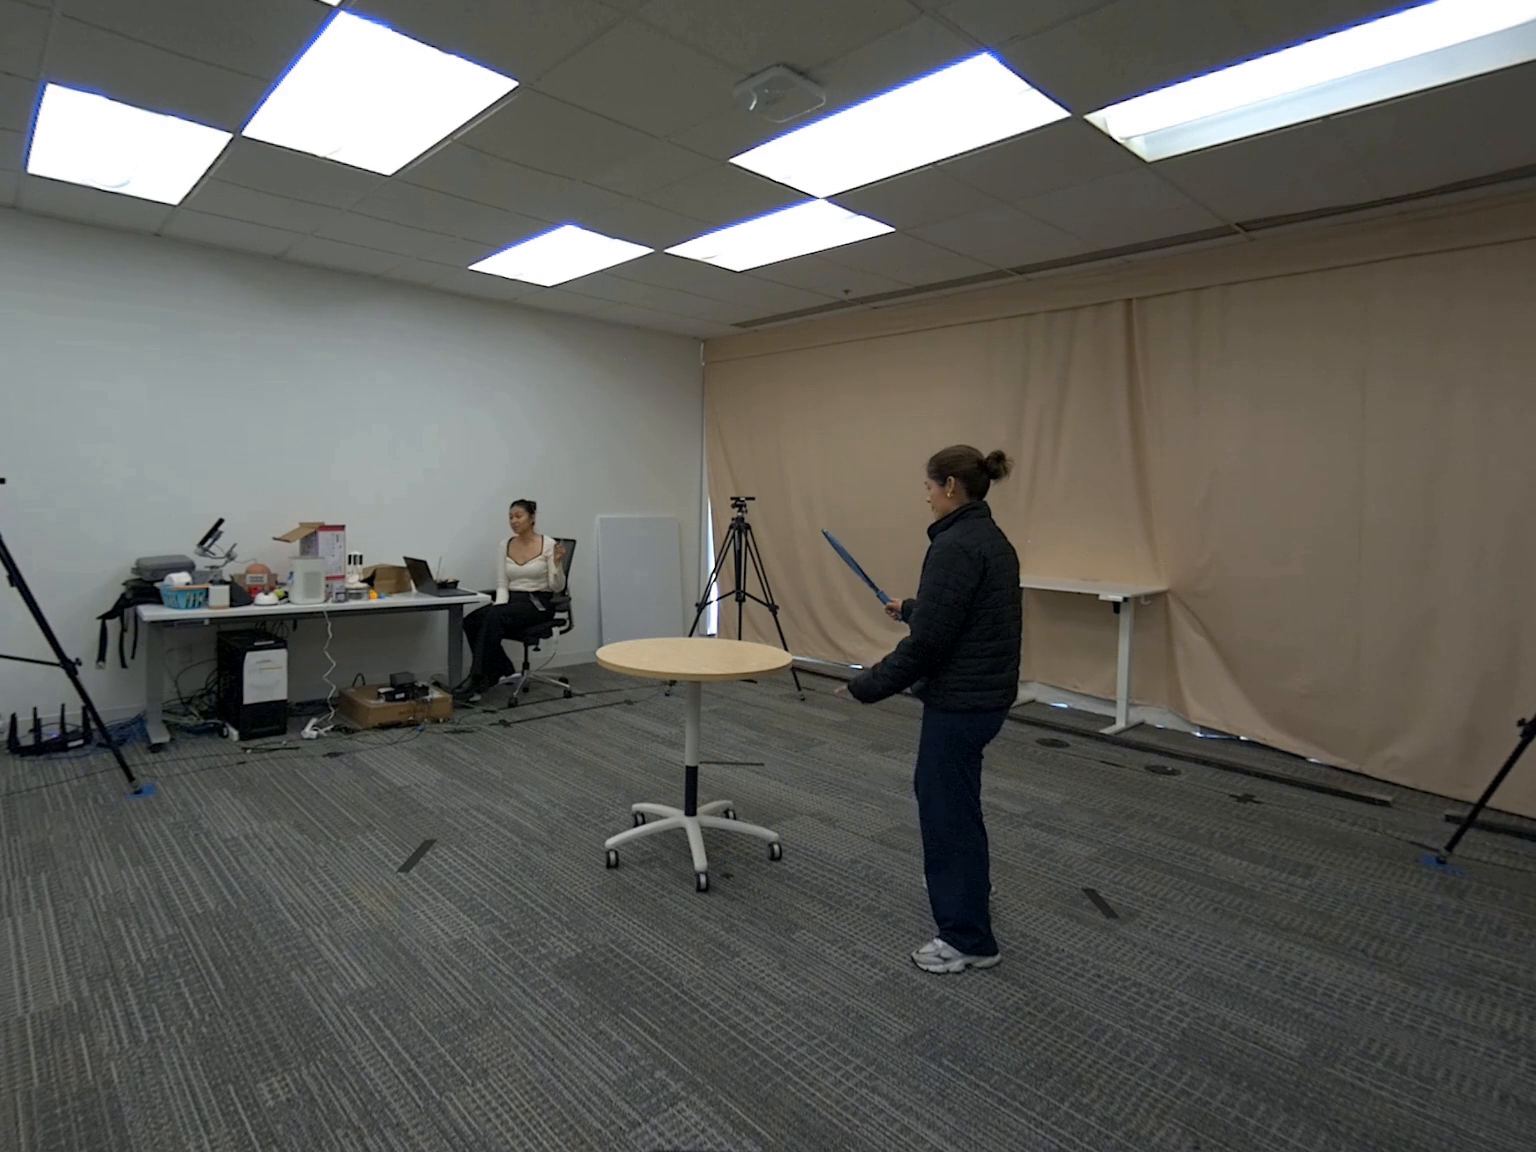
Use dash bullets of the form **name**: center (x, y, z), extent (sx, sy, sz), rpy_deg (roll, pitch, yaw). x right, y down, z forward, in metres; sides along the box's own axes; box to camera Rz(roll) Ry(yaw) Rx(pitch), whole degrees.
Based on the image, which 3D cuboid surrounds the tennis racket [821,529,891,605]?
- **tennis racket**: center (0.317, 0.000, 2.949), extent (0.032, 0.444, 0.208), rpy_deg (-37, -25, 2)
